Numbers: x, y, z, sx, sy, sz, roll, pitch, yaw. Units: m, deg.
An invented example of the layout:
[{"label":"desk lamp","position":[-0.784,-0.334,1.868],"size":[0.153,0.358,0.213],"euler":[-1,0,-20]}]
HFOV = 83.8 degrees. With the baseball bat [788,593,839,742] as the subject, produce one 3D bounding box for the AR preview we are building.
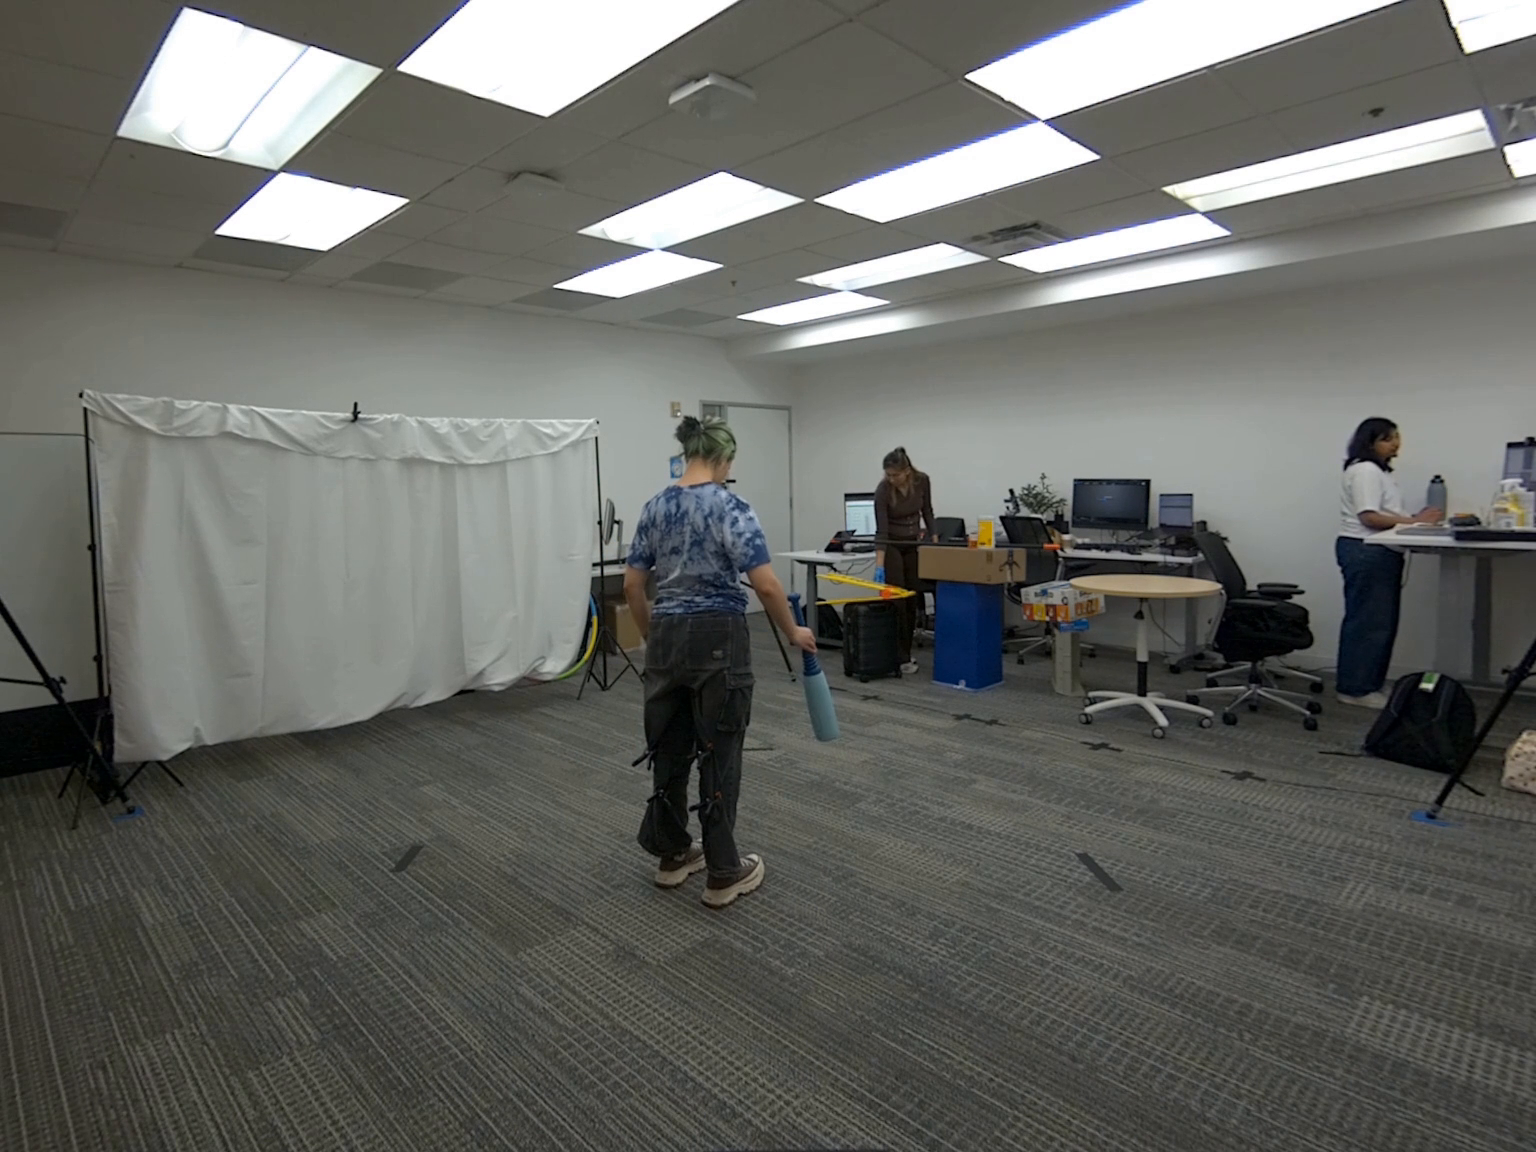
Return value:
[{"label":"baseball bat","position":[0.144,0.319,2.971],"size":[0.089,0.538,0.090],"euler":[-14,8,1]}]
